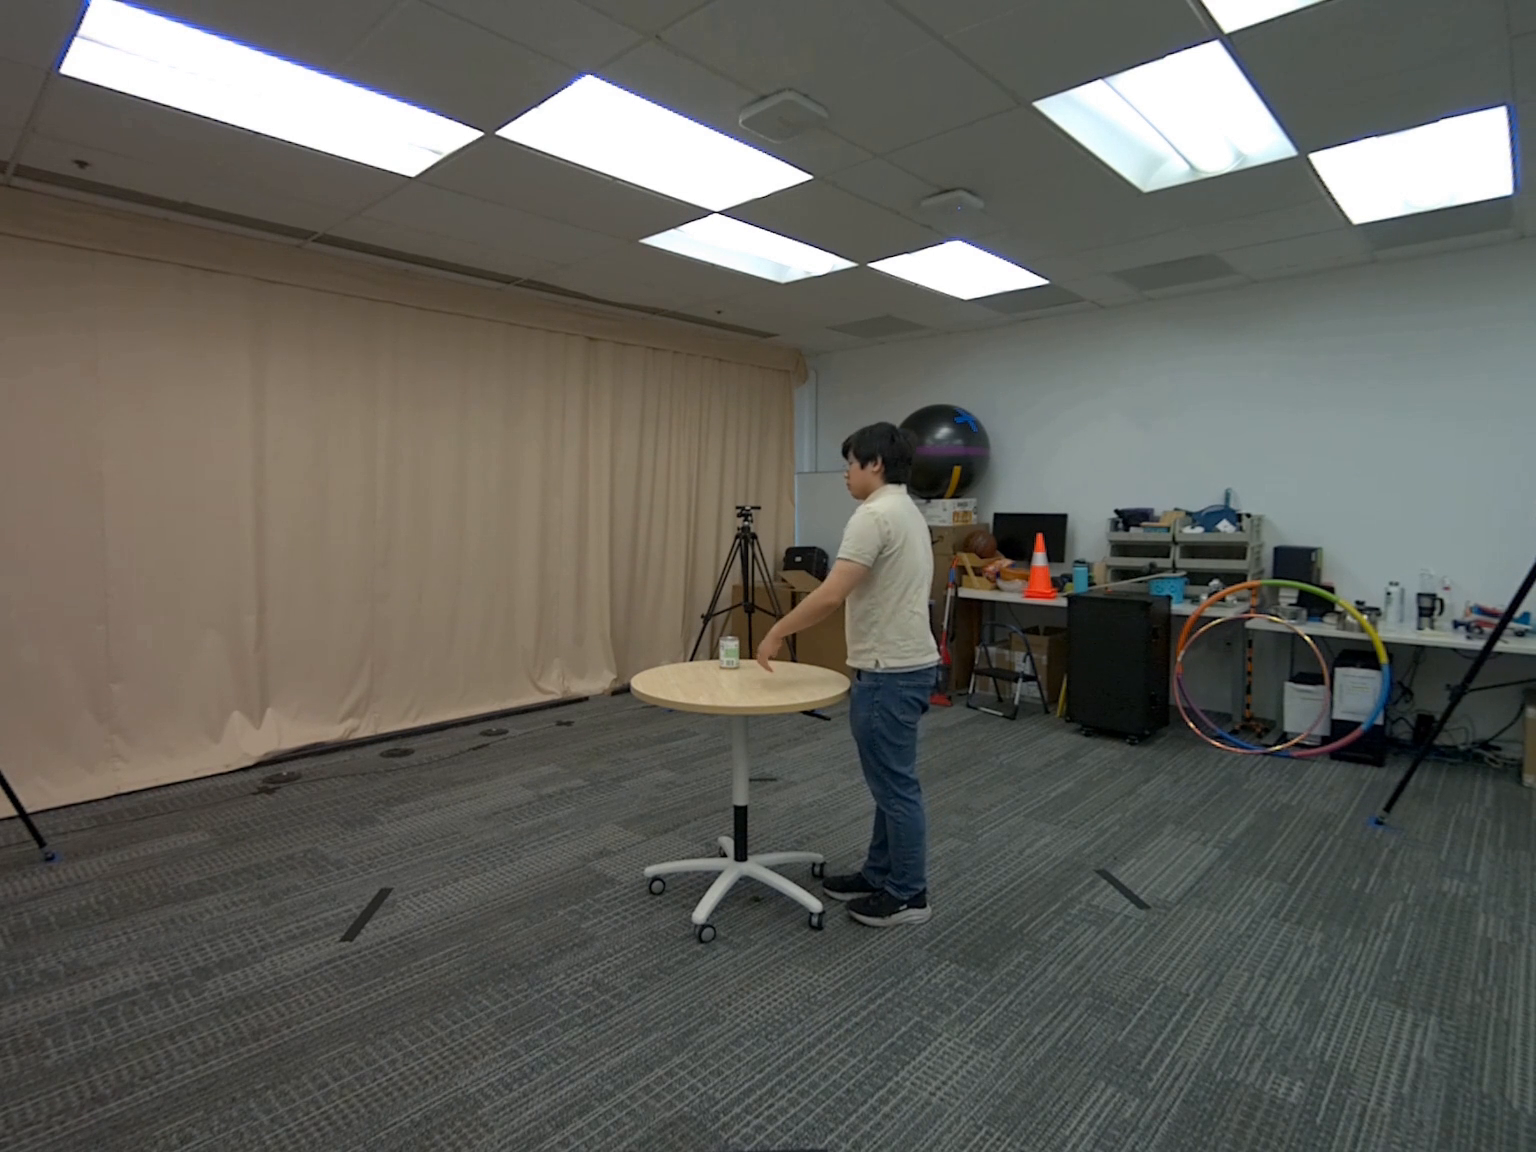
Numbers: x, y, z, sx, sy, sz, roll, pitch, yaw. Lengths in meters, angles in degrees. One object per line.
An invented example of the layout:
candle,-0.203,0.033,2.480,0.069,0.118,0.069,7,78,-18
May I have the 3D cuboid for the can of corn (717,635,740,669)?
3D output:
can of corn,-0.143,0.291,3.160,0.074,0.111,0.074,-2,3,-2
